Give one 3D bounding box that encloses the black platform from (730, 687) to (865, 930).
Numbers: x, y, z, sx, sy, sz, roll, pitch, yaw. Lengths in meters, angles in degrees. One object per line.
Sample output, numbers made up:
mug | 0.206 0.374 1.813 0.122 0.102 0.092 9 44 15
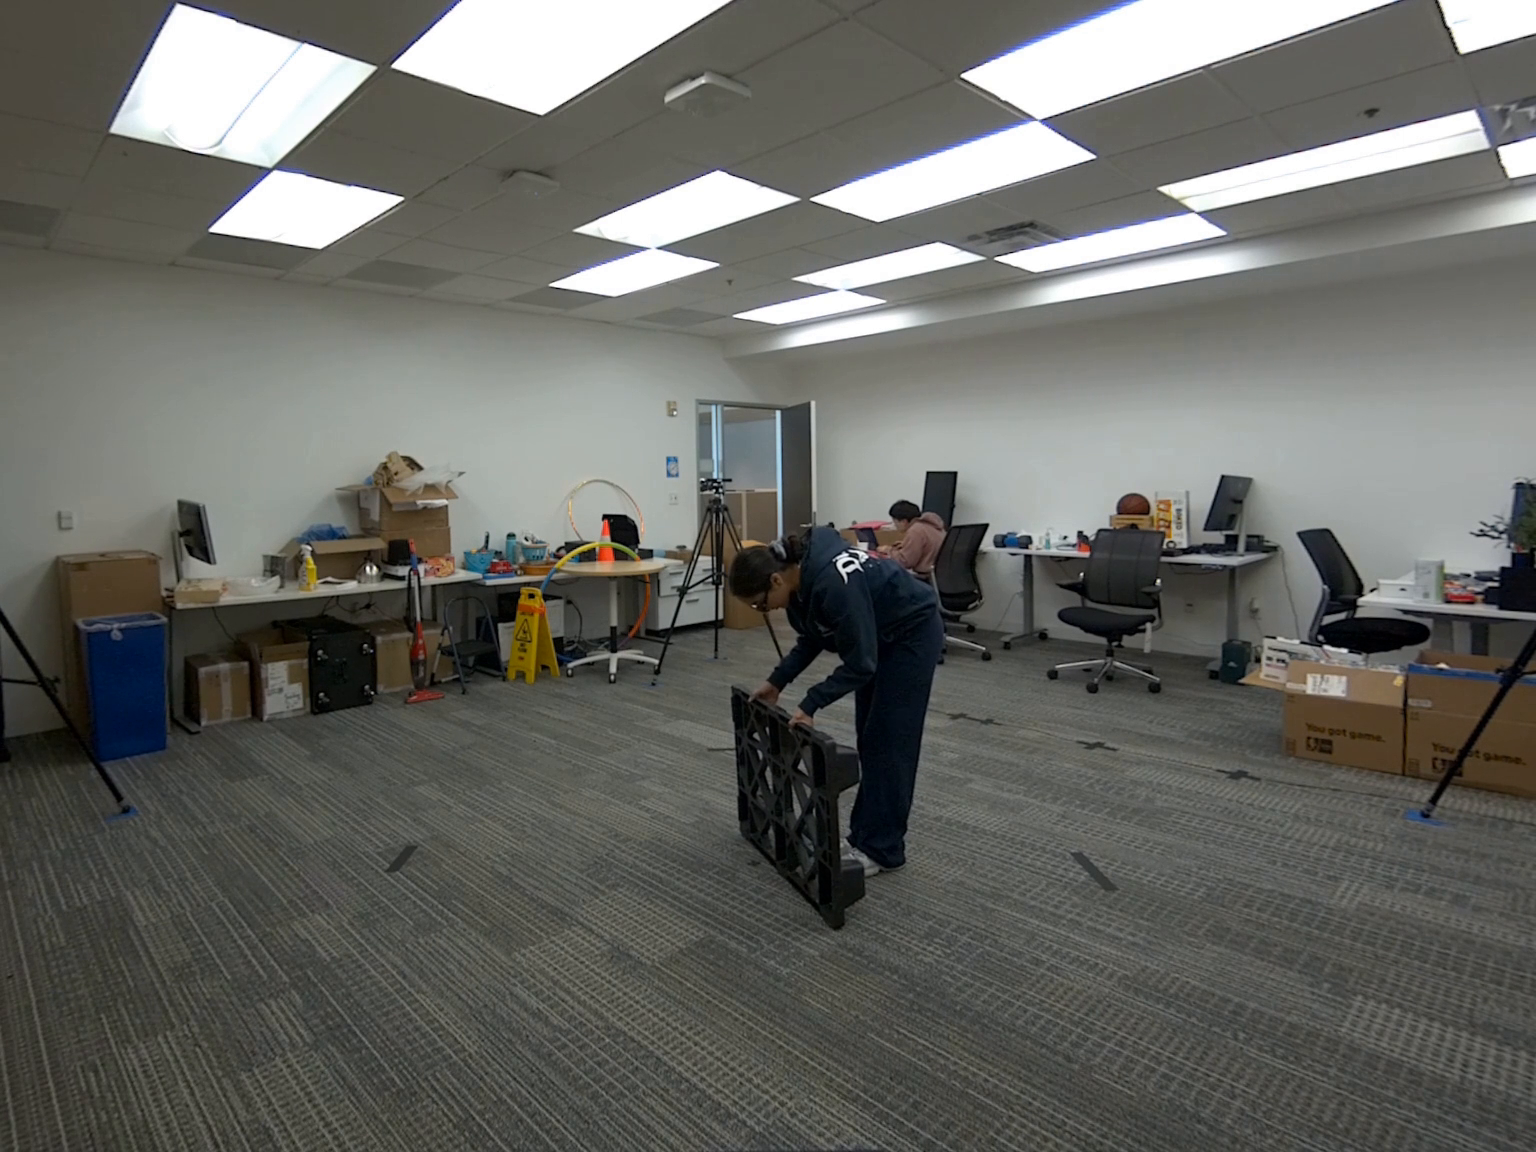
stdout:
black platform | 0.093 0.755 2.995 0.141 0.602 0.824 -5 7 -22
